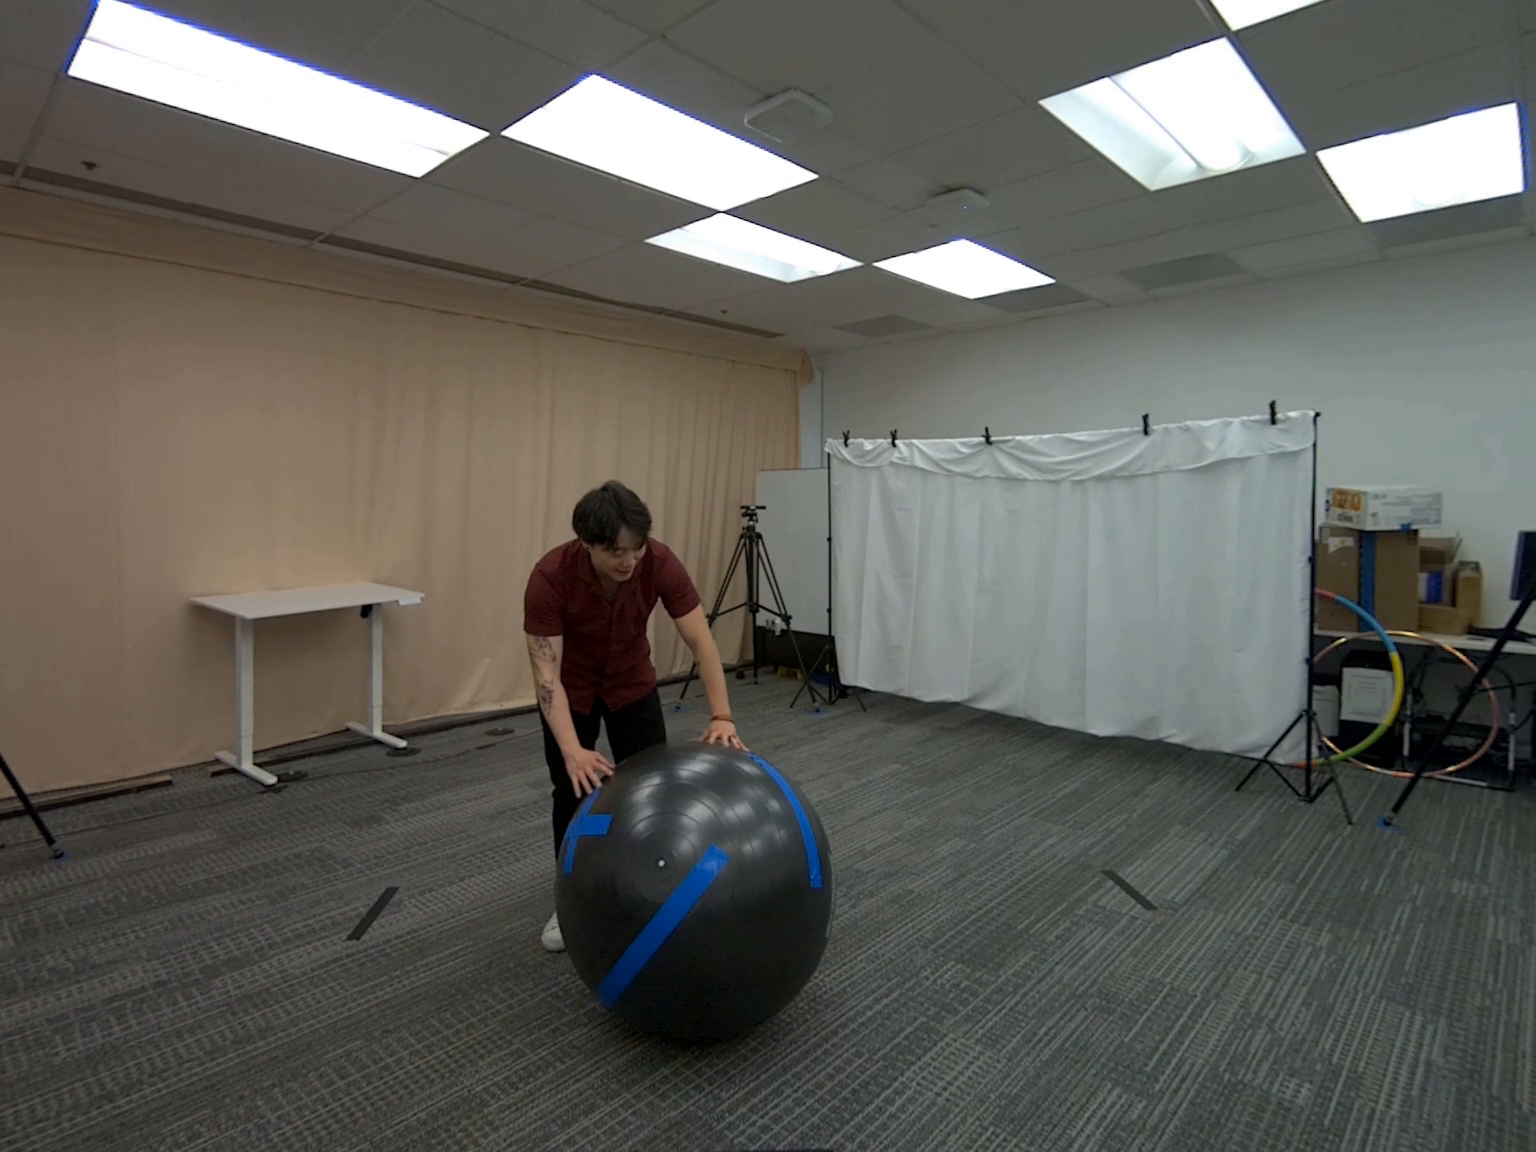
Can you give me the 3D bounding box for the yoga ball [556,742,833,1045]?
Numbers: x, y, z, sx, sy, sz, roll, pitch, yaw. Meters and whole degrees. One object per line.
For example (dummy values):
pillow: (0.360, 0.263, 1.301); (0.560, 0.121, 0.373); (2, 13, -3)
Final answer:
yoga ball: (-0.190, 0.847, 2.290); (0.757, 0.756, 0.760); (0, 4, -2)
